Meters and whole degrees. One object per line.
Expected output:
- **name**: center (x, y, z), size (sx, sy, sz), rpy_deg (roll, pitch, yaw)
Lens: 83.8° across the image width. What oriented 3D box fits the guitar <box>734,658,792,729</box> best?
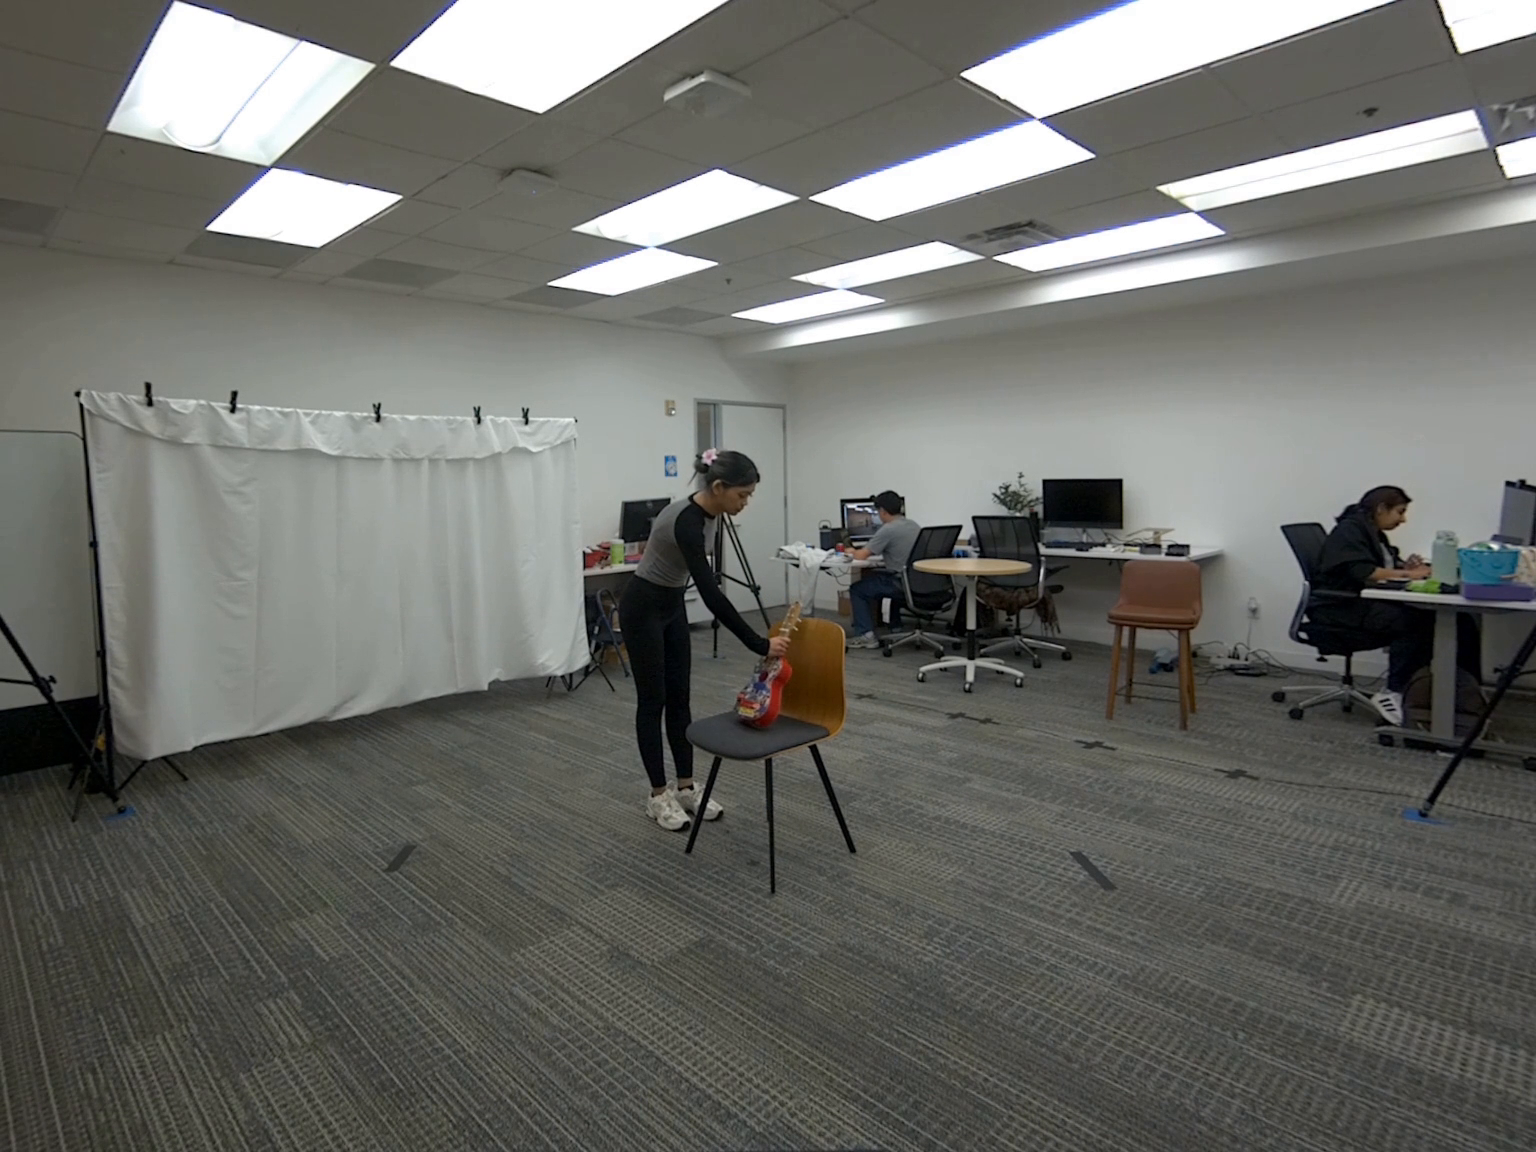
- **guitar**: center (0.047, 0.331, 3.214), size (0.068, 0.499, 0.199), rpy_deg (39, -14, -32)
